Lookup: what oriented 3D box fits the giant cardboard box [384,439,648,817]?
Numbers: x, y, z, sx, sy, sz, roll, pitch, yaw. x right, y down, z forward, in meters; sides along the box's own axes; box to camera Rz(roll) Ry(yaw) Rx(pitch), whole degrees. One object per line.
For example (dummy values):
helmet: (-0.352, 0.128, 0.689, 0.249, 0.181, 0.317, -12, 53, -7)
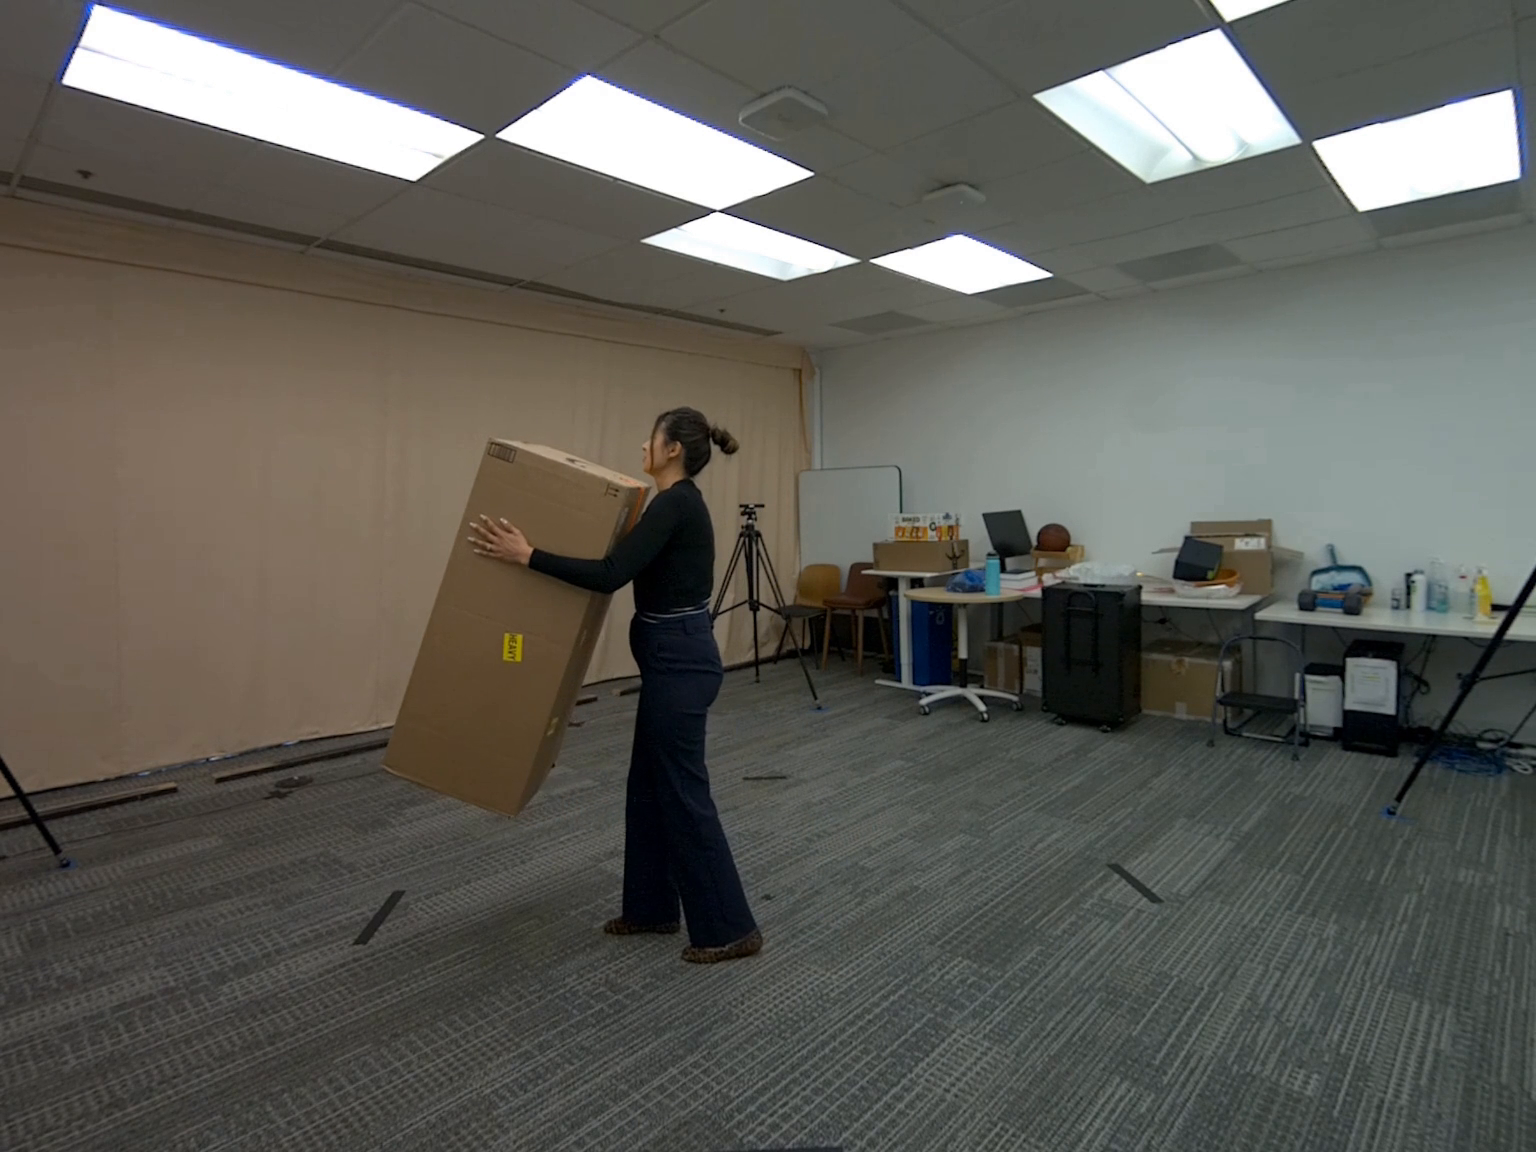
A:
giant cardboard box: (-0.769, 0.127, 2.681, 0.426, 1.024, 0.579, 20, 5, -2)
